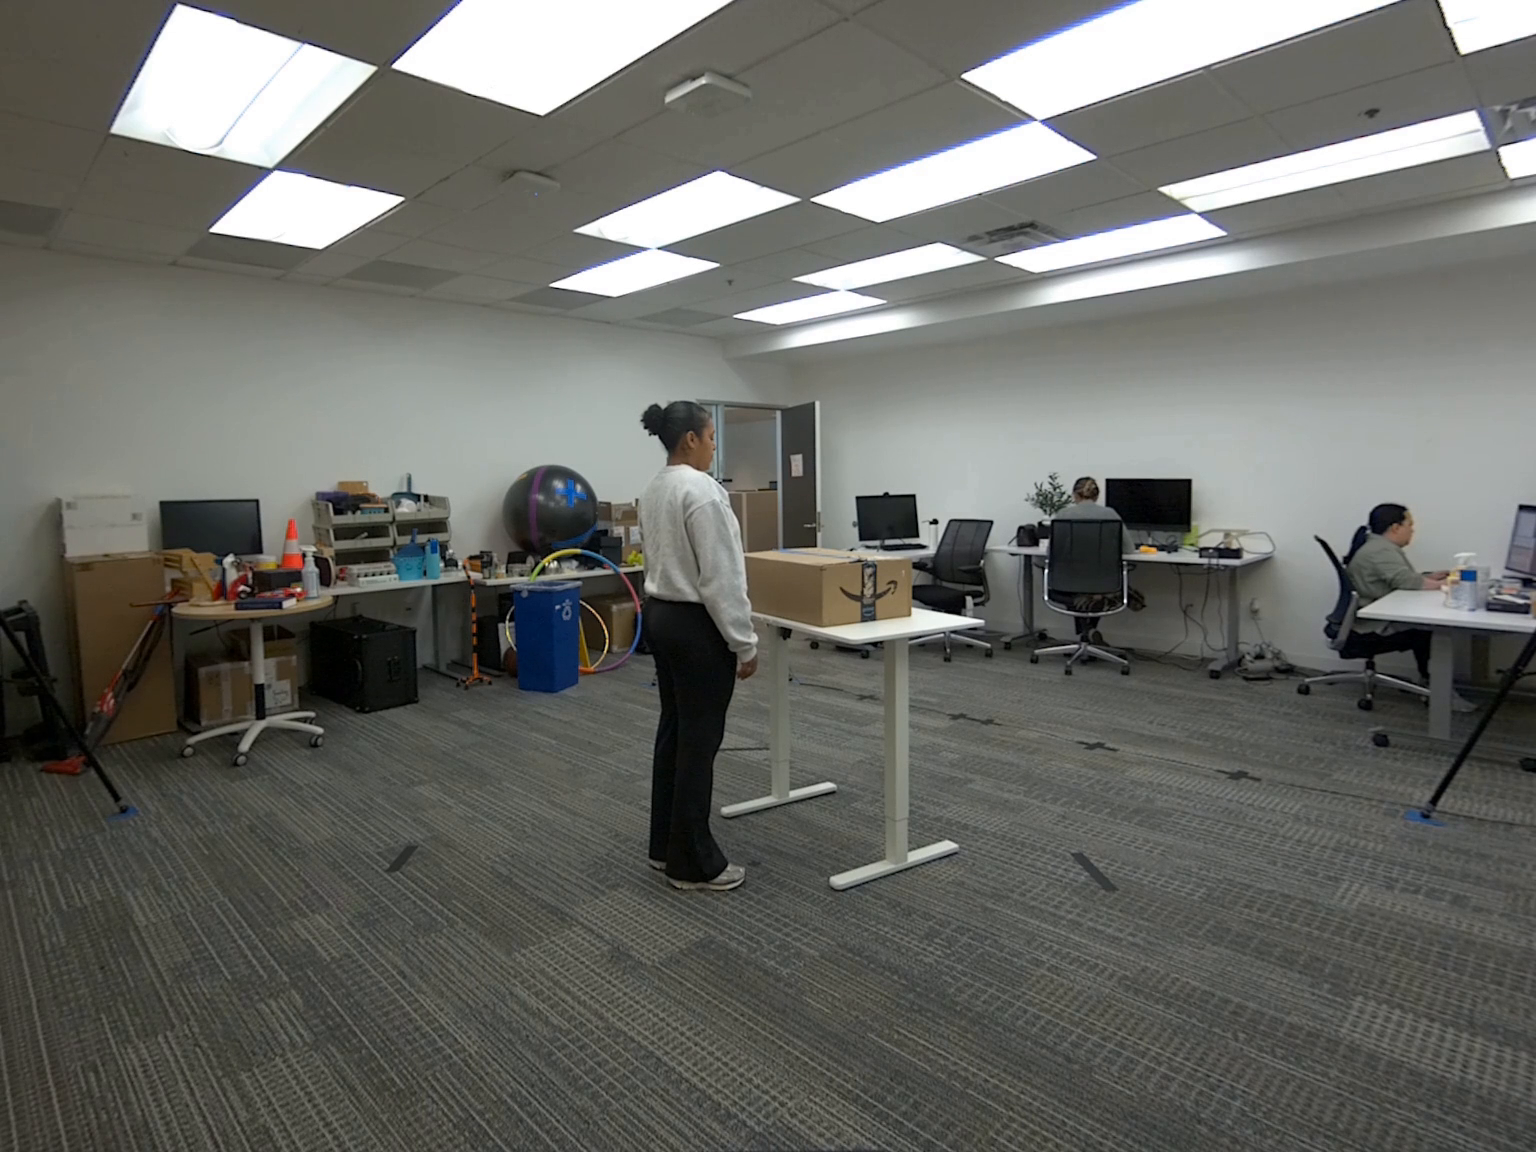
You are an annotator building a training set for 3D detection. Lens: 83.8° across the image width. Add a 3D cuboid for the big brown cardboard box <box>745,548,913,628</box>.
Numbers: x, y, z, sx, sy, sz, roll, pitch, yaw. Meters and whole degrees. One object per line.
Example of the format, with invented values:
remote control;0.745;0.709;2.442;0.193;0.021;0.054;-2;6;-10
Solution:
big brown cardboard box;0.204;0.029;3.274;0.408;0.232;0.606;-5;7;-32
